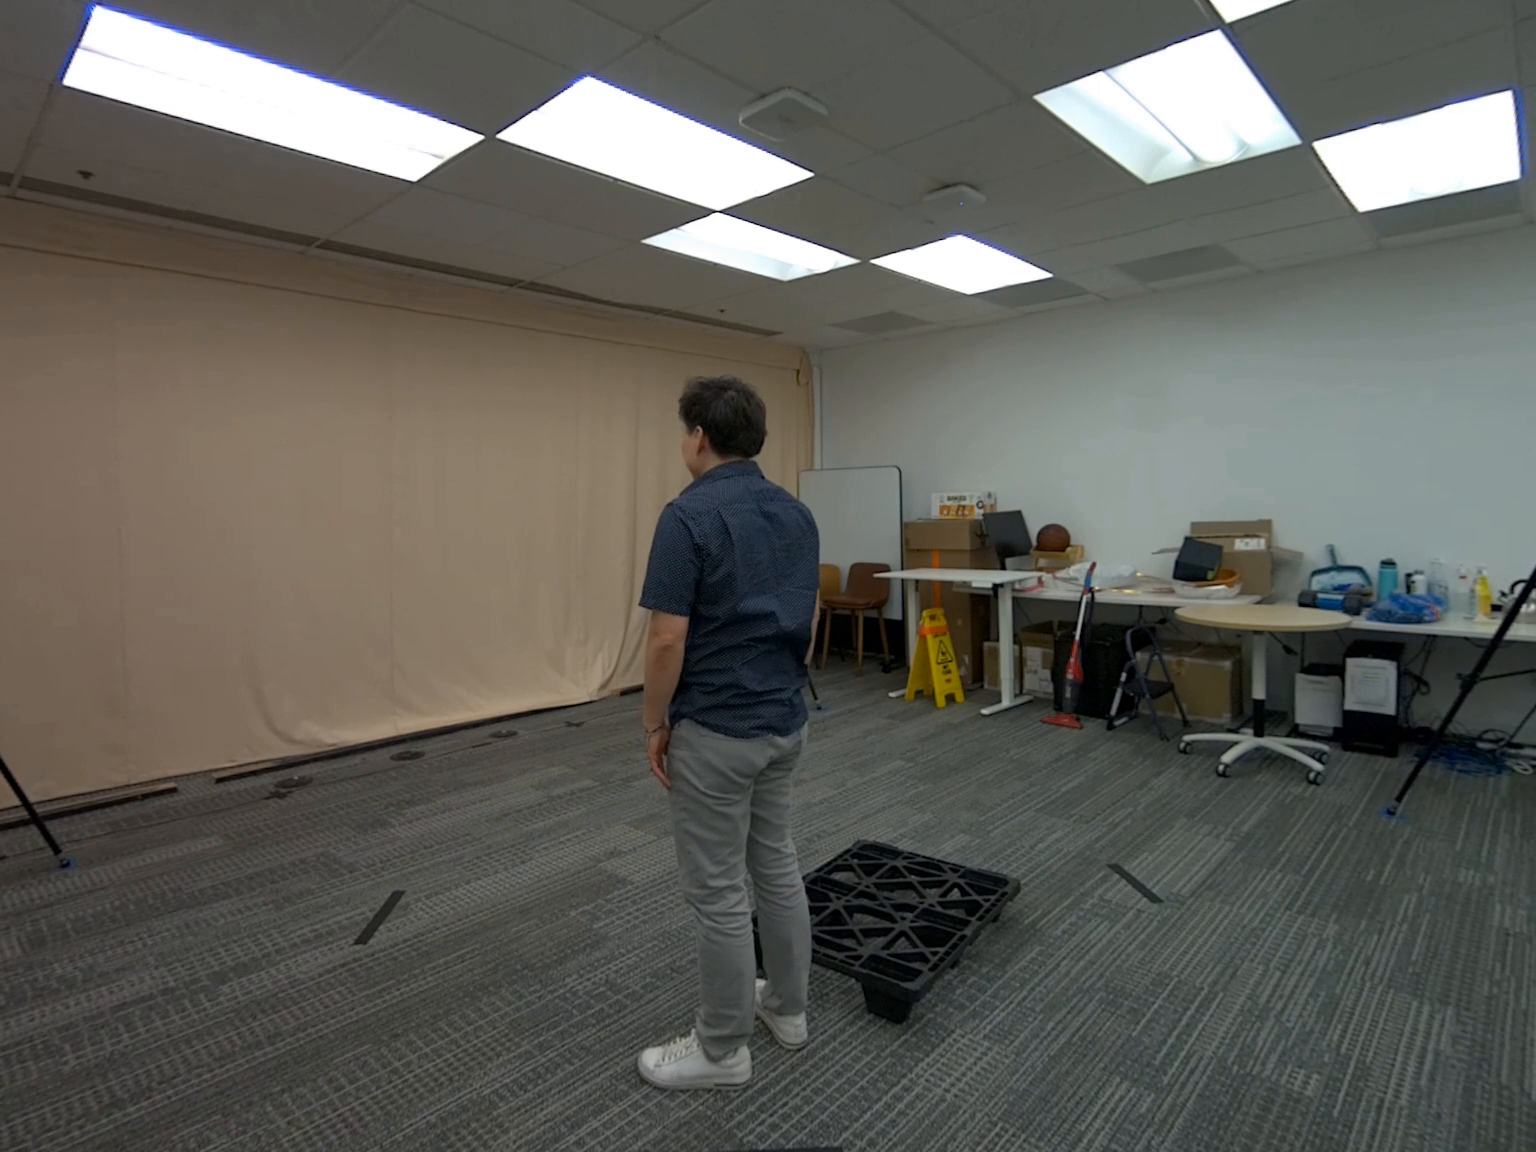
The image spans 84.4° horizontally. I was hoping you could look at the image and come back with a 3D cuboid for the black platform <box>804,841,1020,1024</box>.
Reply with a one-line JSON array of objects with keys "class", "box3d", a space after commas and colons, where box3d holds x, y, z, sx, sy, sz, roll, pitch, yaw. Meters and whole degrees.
[{"class": "black platform", "box3d": [0.380, 1.094, 2.668, 0.625, 0.143, 0.782, 4, 7, 37]}]
